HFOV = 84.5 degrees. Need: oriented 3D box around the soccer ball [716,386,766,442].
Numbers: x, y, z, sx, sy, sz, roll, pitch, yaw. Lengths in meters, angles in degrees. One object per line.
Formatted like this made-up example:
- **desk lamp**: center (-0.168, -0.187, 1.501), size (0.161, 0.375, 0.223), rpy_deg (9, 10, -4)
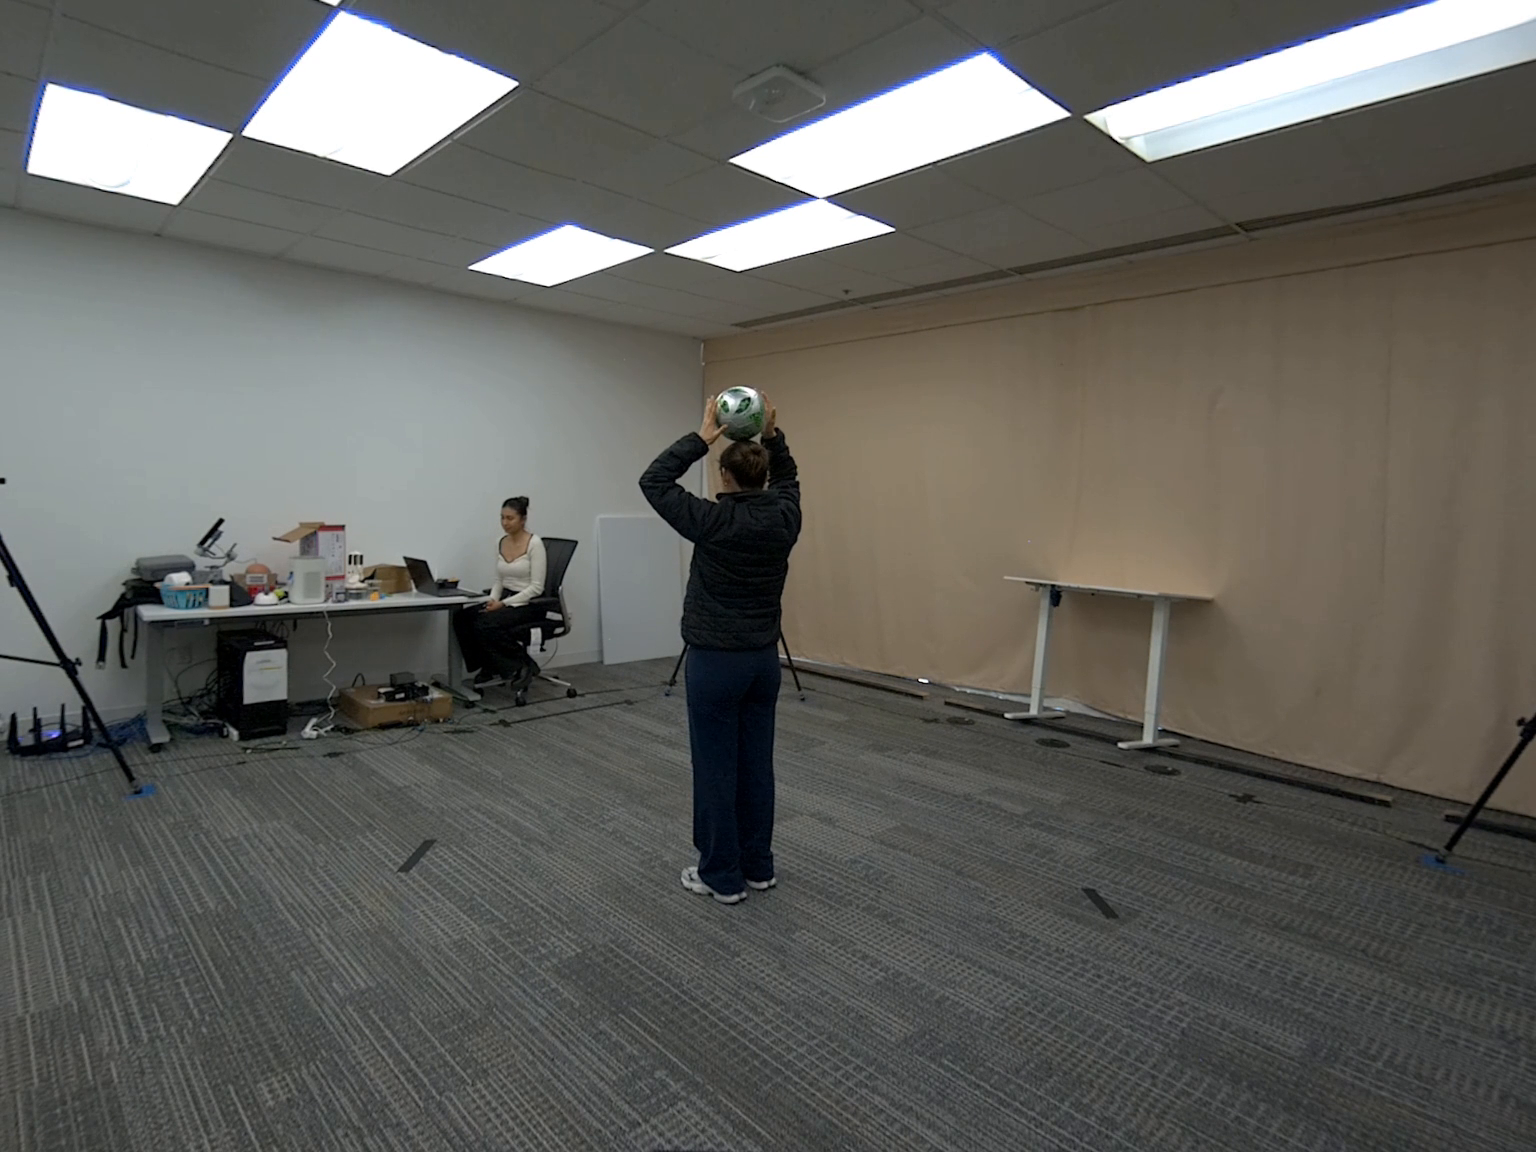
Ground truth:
- **soccer ball**: center (-0.104, -0.562, 2.918), size (0.187, 0.187, 0.188), rpy_deg (1, 4, -1)
